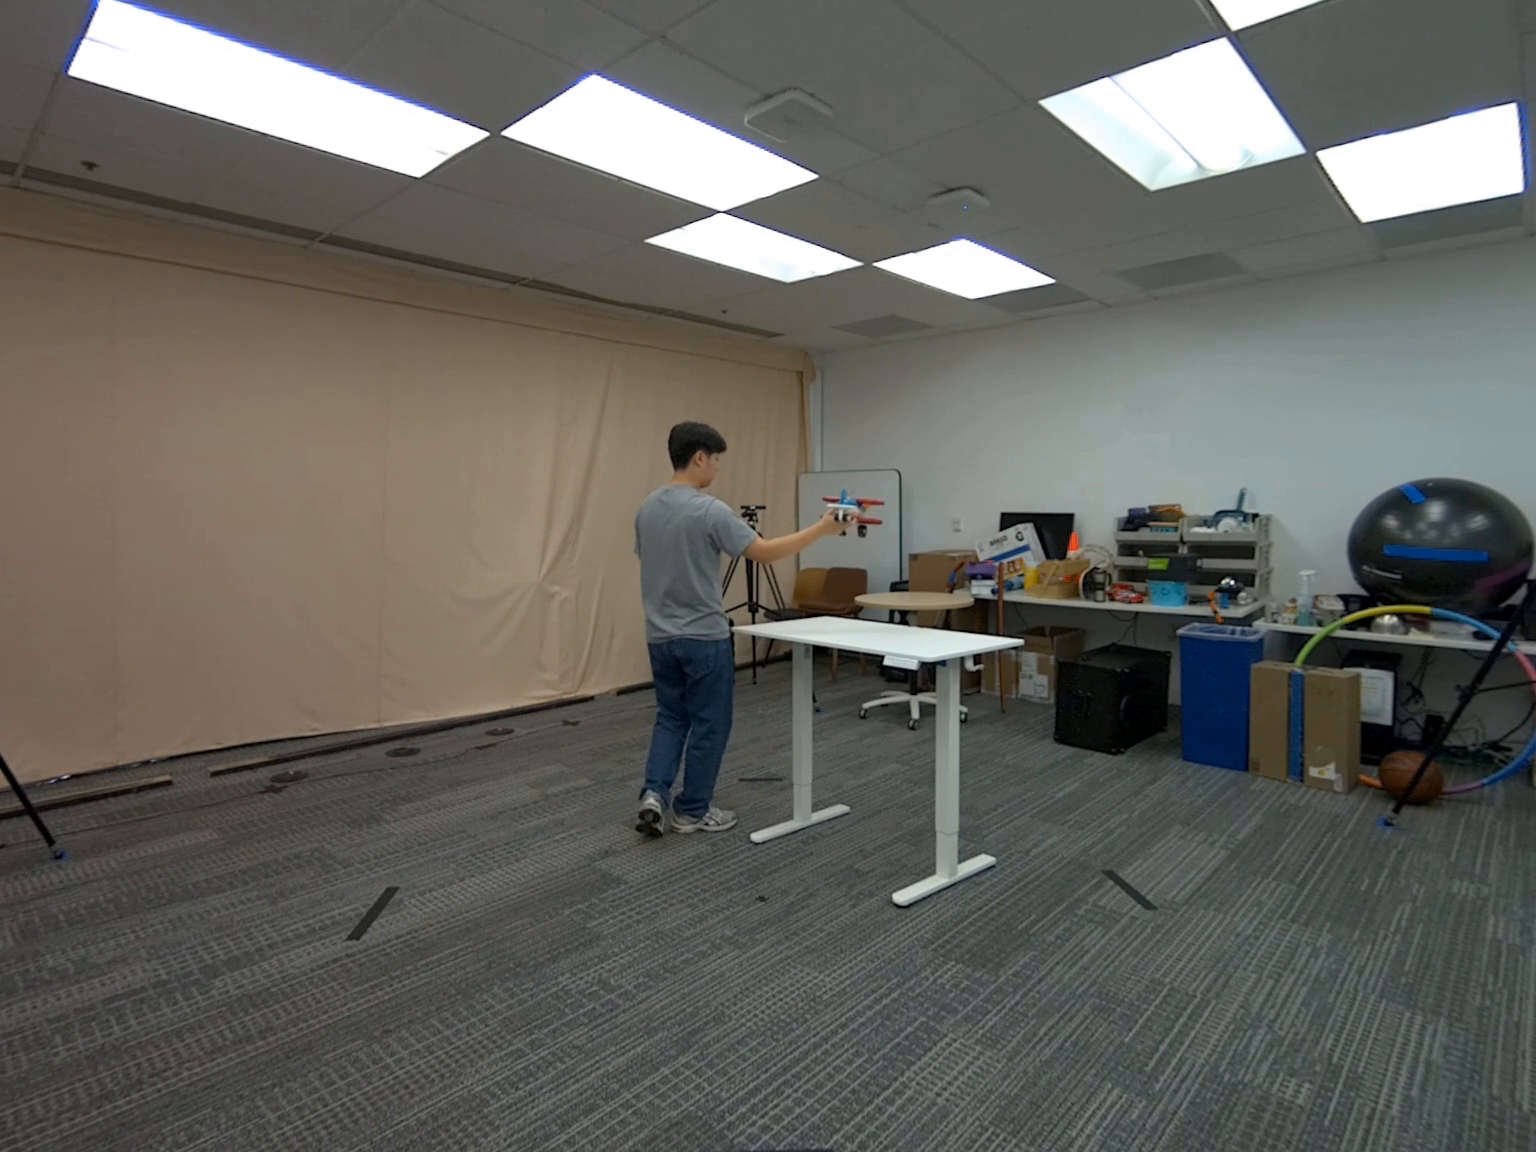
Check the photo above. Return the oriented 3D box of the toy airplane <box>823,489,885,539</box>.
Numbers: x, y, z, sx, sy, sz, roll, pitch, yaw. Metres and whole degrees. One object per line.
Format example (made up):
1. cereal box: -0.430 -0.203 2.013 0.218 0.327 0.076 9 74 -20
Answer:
1. toy airplane: 0.351 -0.258 3.416 0.250 0.157 0.259 12 -15 -5
